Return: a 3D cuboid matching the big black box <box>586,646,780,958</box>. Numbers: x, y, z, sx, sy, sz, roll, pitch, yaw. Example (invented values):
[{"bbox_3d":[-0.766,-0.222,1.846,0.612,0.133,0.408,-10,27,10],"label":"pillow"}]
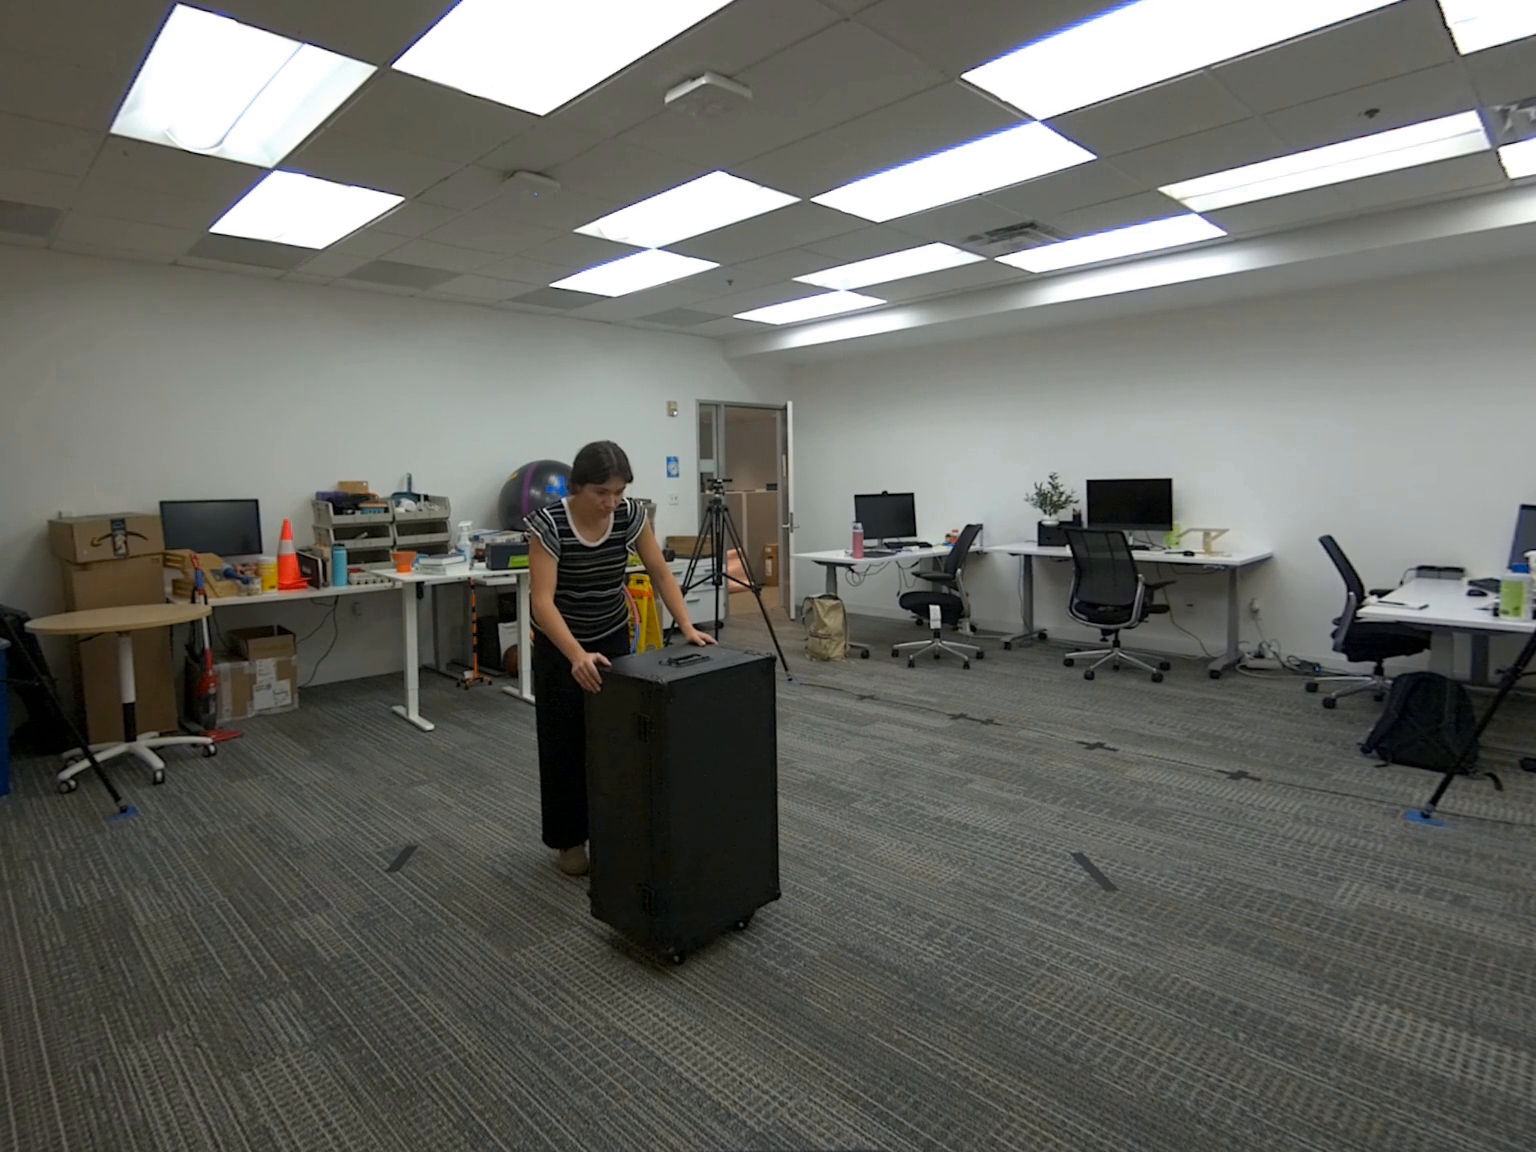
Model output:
[{"bbox_3d":[-0.267,0.681,2.637,0.408,0.858,0.507,3,6,43],"label":"big black box"}]
